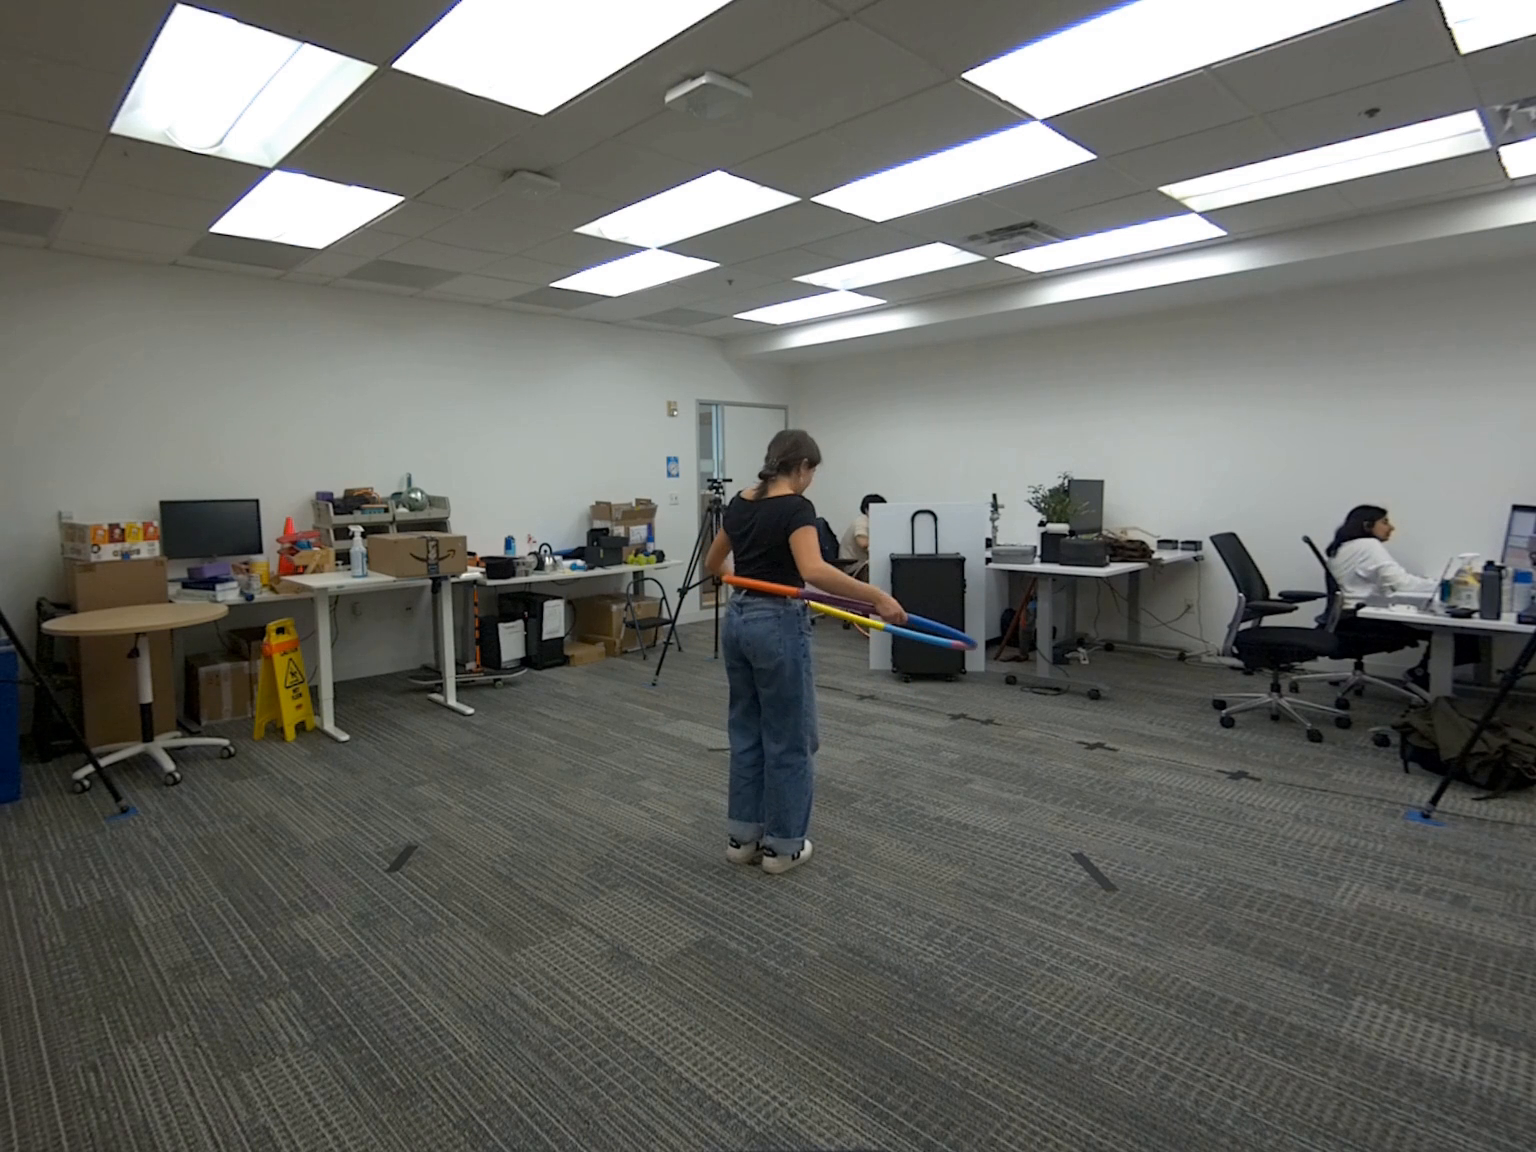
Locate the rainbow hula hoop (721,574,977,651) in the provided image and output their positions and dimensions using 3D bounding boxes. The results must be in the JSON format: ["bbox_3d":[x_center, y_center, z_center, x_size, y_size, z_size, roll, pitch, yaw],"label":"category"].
[{"bbox_3d":[0.286,0.126,3.260,0.980,0.035,0.974,18,-5,0],"label":"rainbow hula hoop"}]
